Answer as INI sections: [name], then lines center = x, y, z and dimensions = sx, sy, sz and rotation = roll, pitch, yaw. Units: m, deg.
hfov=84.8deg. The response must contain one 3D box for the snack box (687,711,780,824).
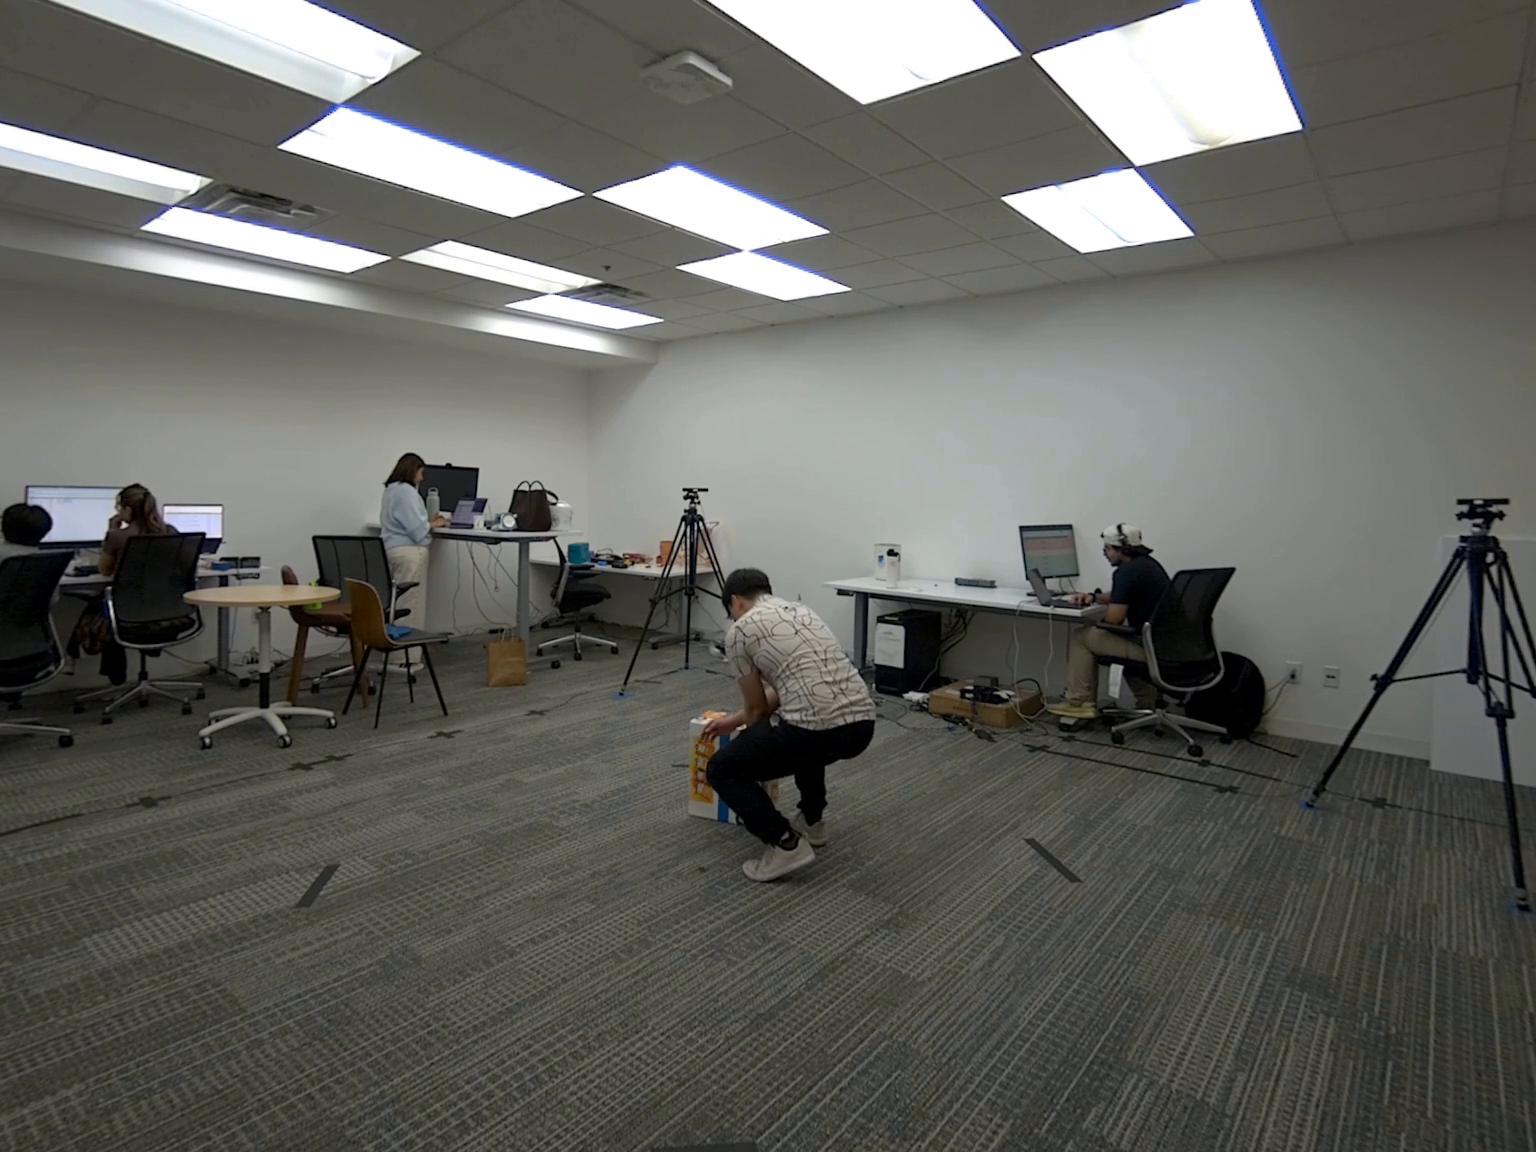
[snack box]
center = -0.151, 0.814, 3.634
dimensions = 0.349, 0.404, 0.201
rotation = 3, 4, 24
